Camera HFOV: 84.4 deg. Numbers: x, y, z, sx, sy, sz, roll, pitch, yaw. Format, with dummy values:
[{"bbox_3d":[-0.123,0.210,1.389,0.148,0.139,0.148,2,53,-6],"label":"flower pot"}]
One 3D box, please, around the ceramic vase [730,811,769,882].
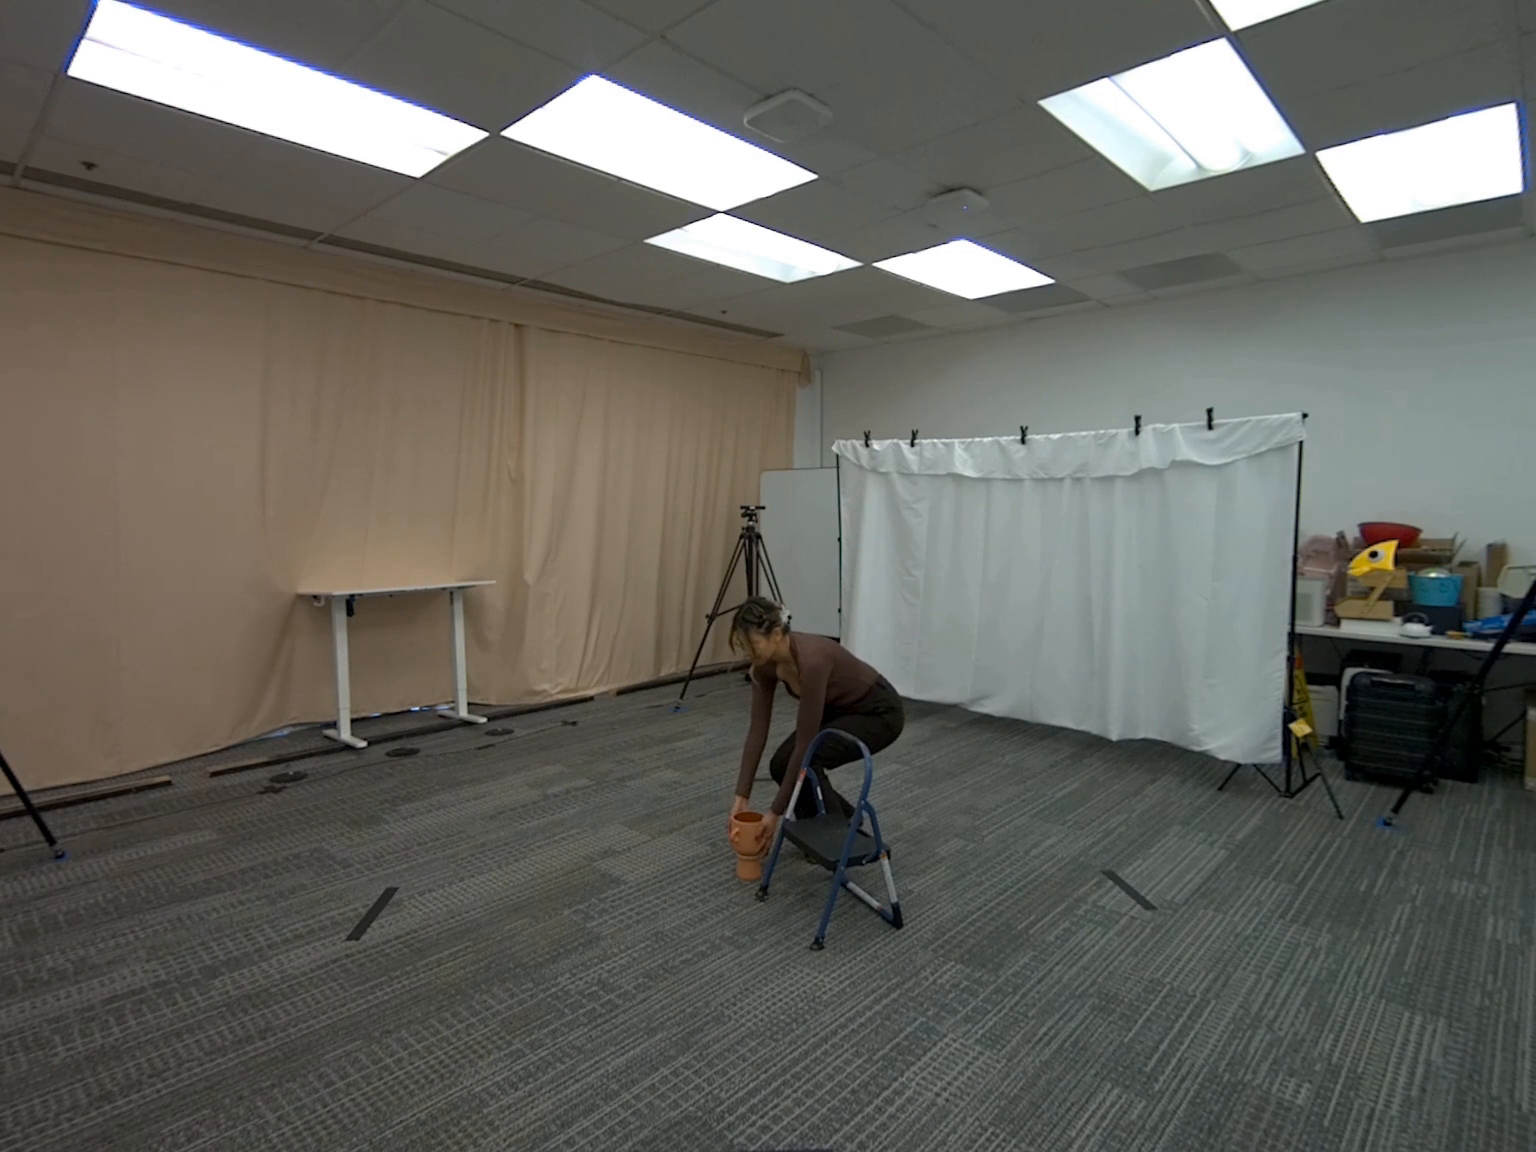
[{"bbox_3d":[-0.070,1.013,3.176,0.157,0.219,0.137,-1,2,-13],"label":"ceramic vase"}]
